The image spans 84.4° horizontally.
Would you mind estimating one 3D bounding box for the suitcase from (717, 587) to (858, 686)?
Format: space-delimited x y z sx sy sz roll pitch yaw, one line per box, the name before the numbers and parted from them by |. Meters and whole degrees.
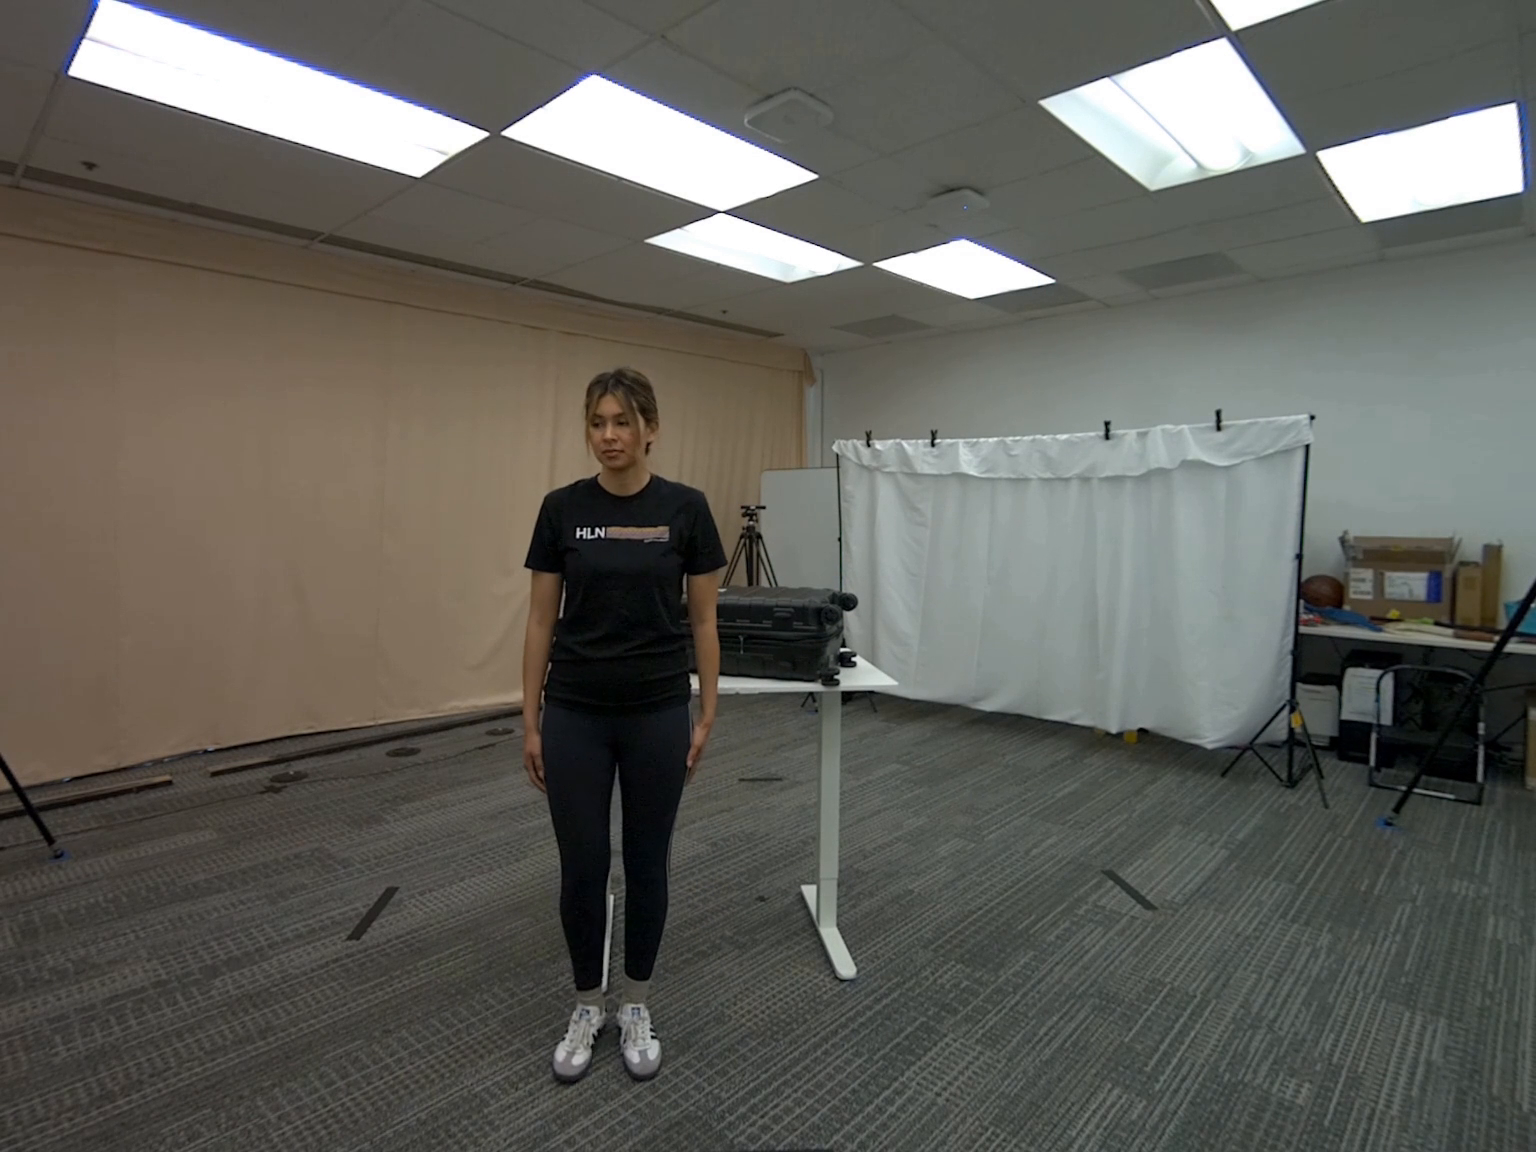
suitcase | -0.208 0.163 2.707 0.997 0.256 0.378 2 7 17
